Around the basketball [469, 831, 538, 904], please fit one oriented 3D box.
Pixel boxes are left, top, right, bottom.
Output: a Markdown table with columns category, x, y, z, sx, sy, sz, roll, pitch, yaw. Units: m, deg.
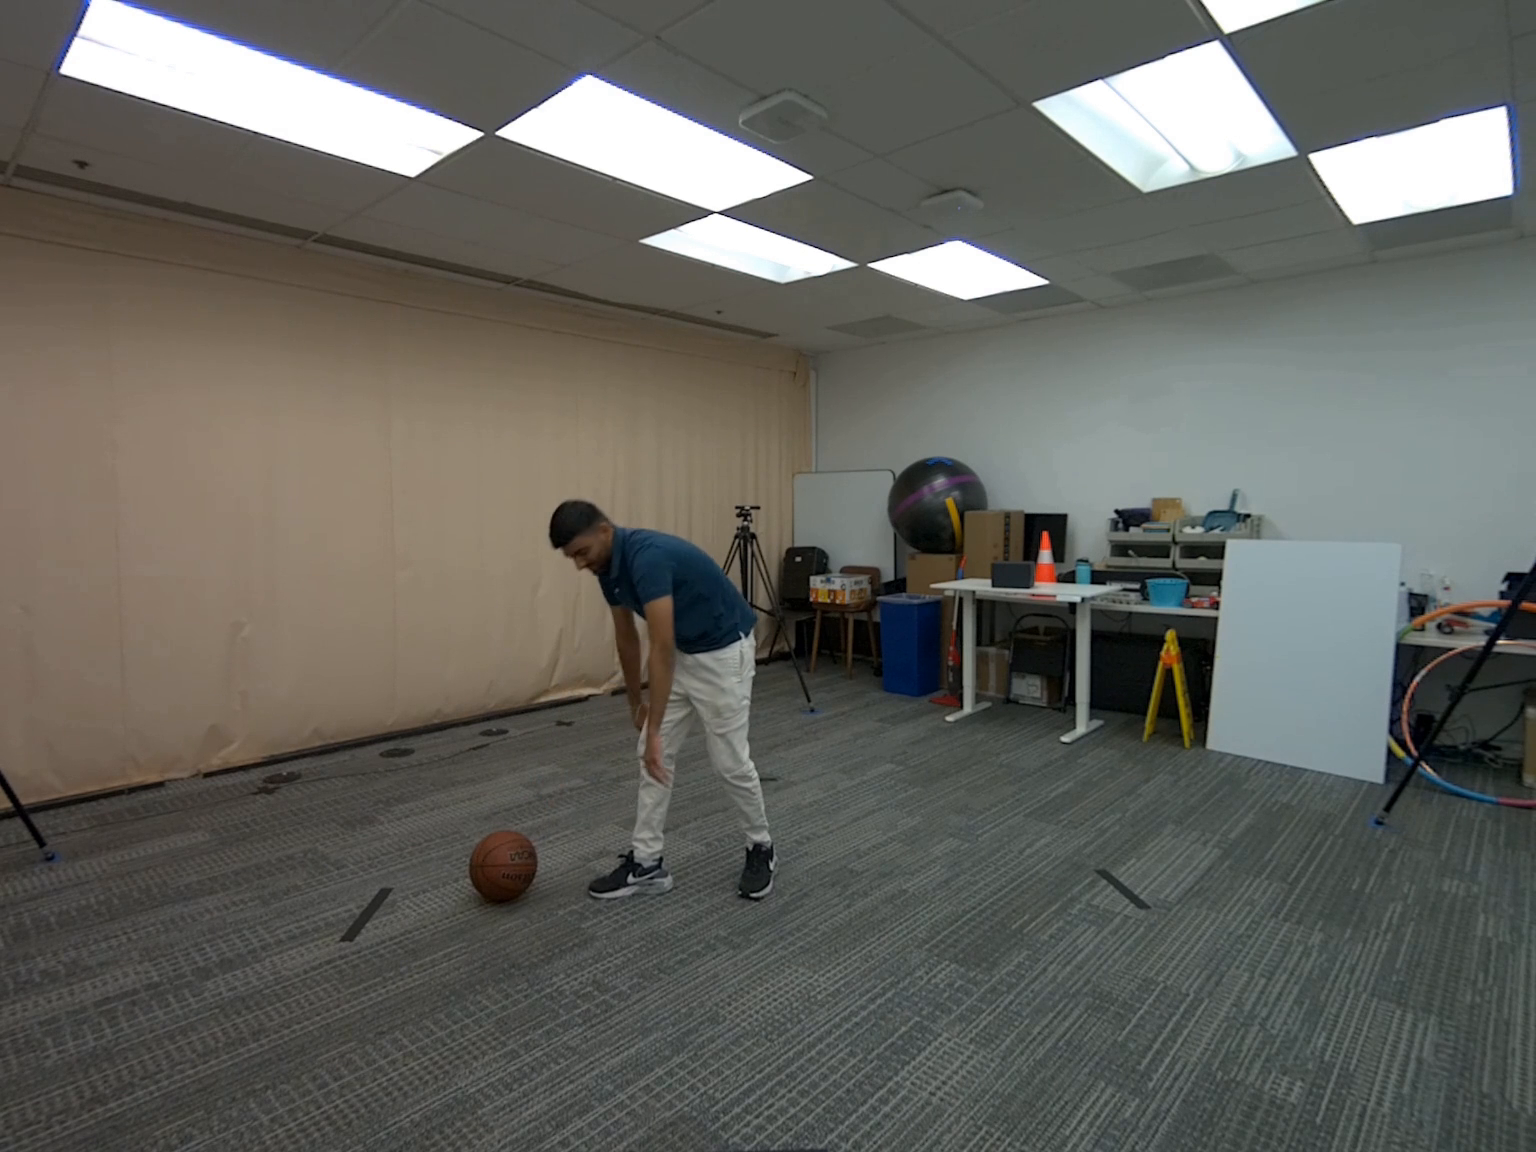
| category | x | y | z | sx | sy | sz | roll | pitch | yaw |
| --- | --- | --- | --- | --- | --- | --- | --- | --- | --- |
| basketball | -0.945 | 1.033 | 2.999 | 0.236 | 0.235 | 0.237 | 0 | 4 | -2 |
